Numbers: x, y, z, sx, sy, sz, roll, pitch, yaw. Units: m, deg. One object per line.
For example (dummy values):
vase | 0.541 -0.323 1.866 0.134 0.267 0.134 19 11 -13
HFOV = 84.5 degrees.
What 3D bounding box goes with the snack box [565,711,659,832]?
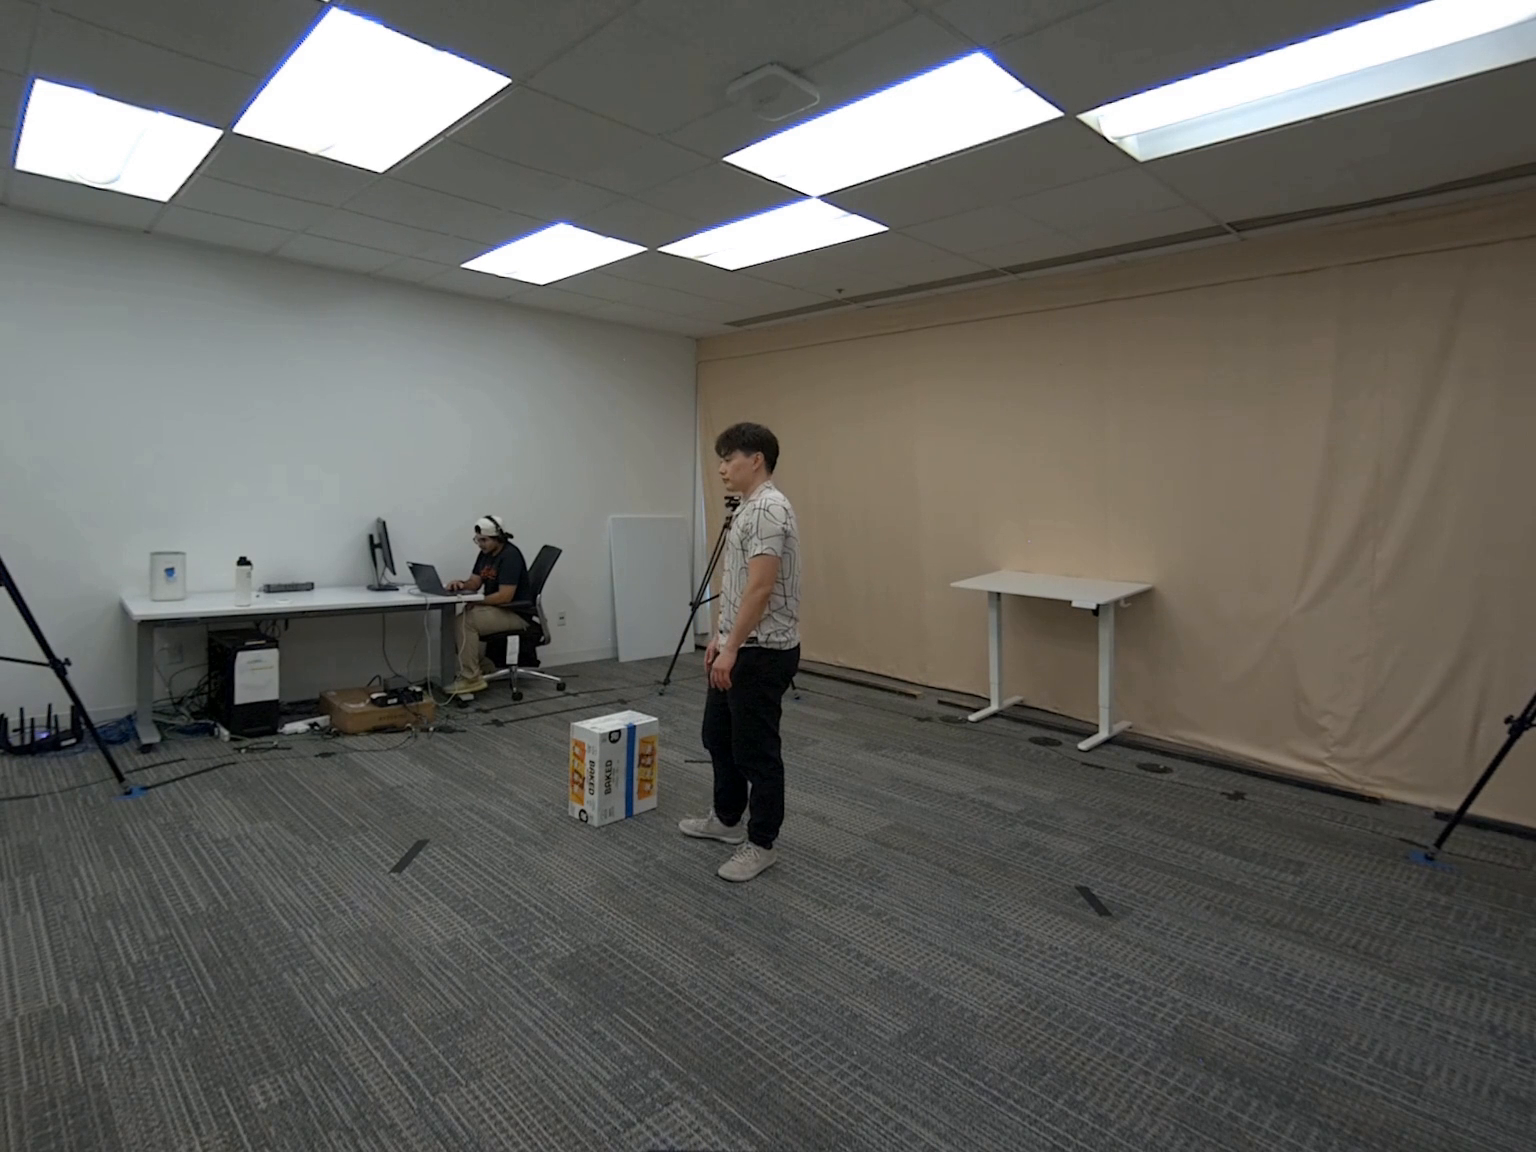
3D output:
snack box | -0.683 0.840 3.696 0.211 0.404 0.332 5 5 40
